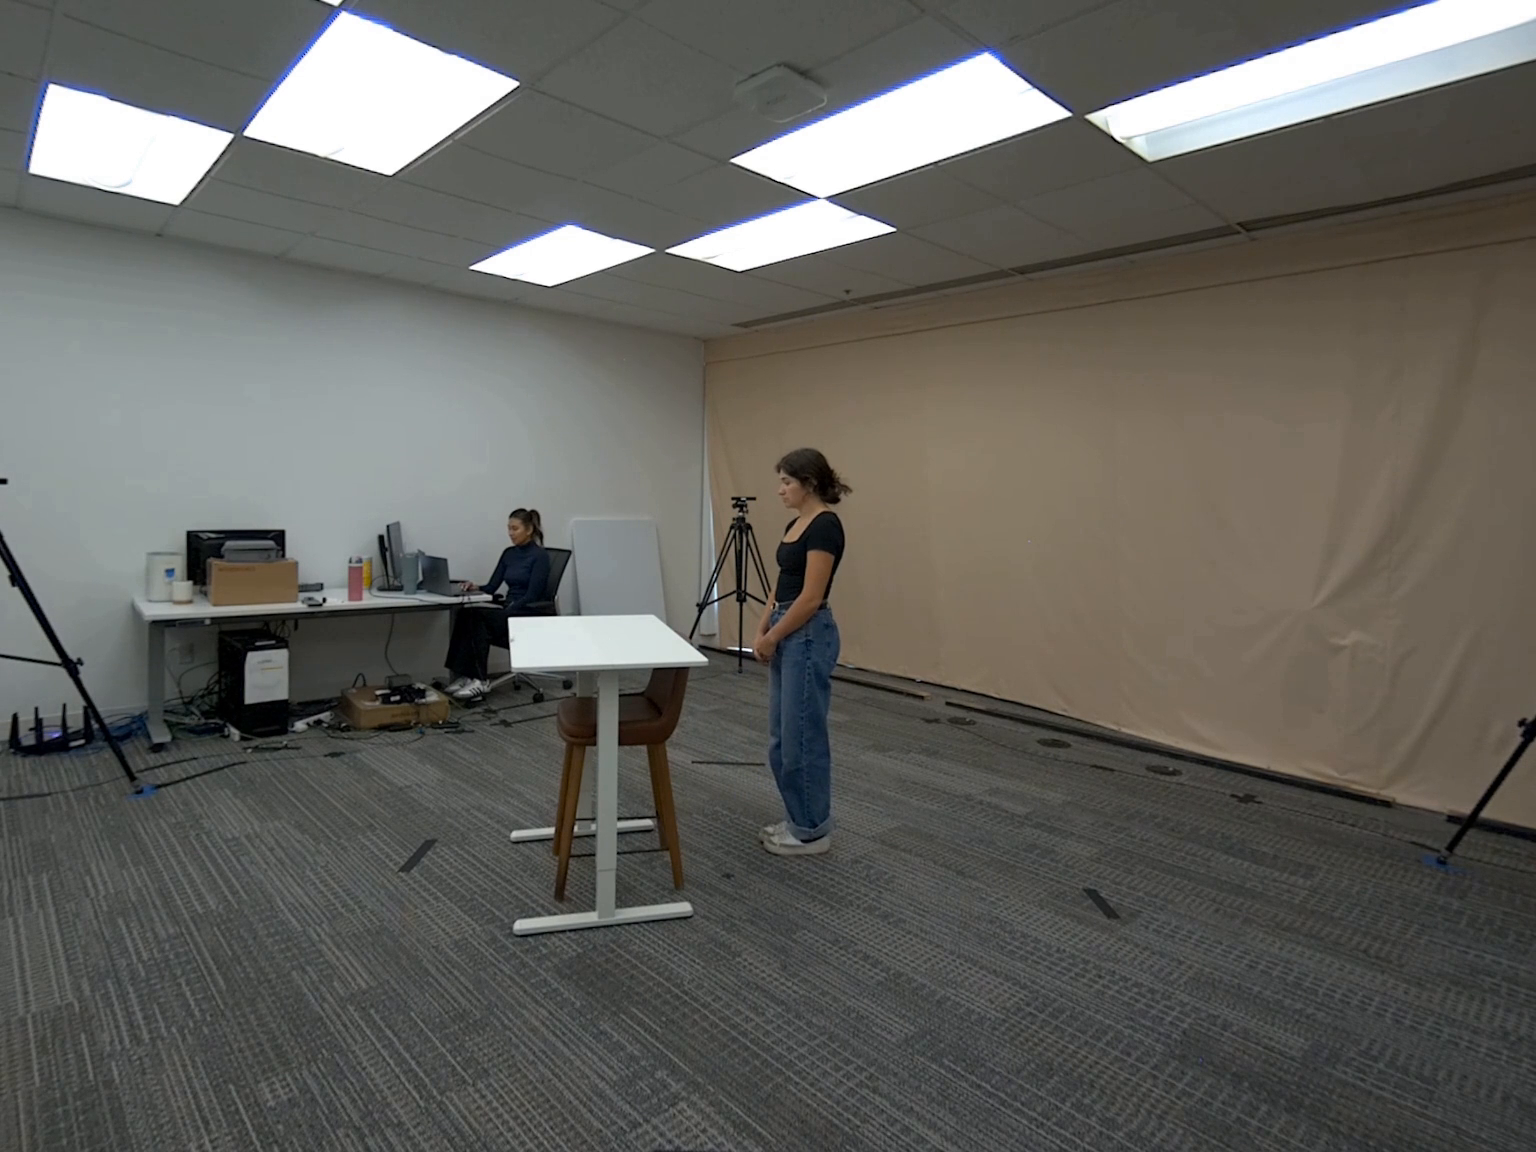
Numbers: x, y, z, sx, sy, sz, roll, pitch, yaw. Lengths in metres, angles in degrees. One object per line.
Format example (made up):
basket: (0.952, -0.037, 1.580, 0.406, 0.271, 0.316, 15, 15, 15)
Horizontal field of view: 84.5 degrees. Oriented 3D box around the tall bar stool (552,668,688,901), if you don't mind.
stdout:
tall bar stool: (-0.547, 0.668, 3.095, 0.462, 0.888, 0.462, 3, 3, -14)
